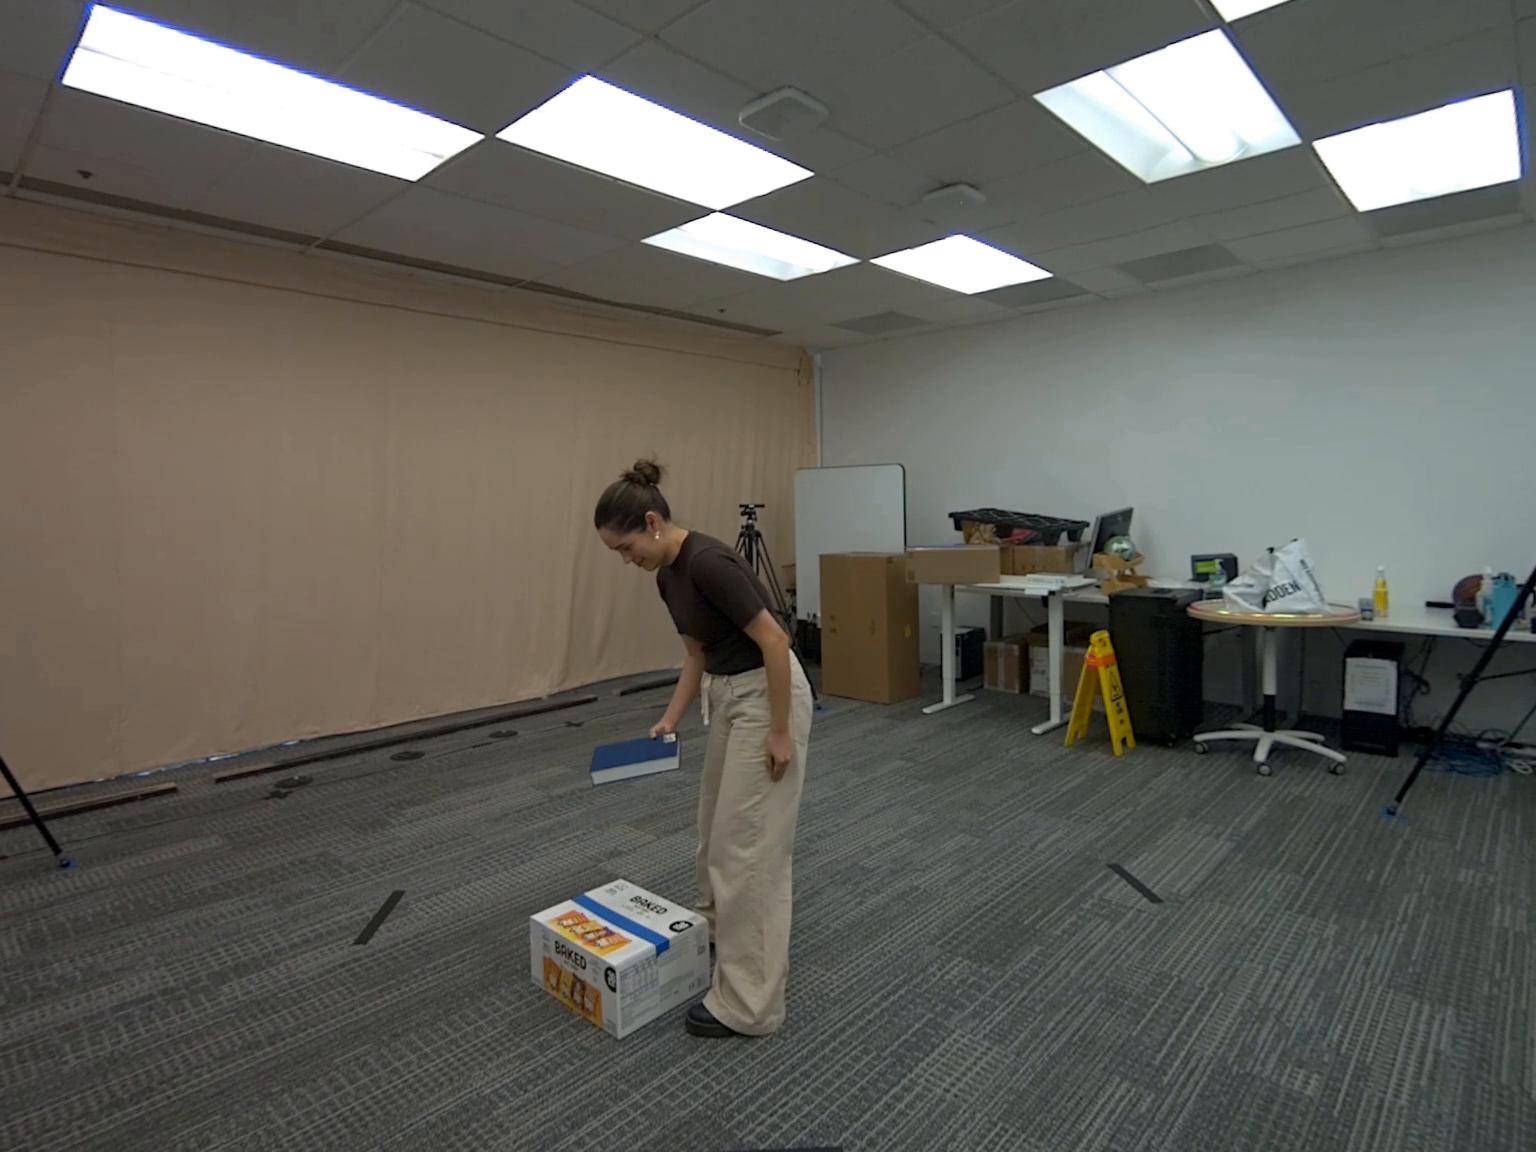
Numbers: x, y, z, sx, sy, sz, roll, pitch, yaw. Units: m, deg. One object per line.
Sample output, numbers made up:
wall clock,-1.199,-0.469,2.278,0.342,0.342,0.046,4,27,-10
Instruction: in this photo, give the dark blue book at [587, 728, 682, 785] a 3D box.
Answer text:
dark blue book,-0.369,0.500,2.365,0.245,0.045,0.165,-11,14,1
